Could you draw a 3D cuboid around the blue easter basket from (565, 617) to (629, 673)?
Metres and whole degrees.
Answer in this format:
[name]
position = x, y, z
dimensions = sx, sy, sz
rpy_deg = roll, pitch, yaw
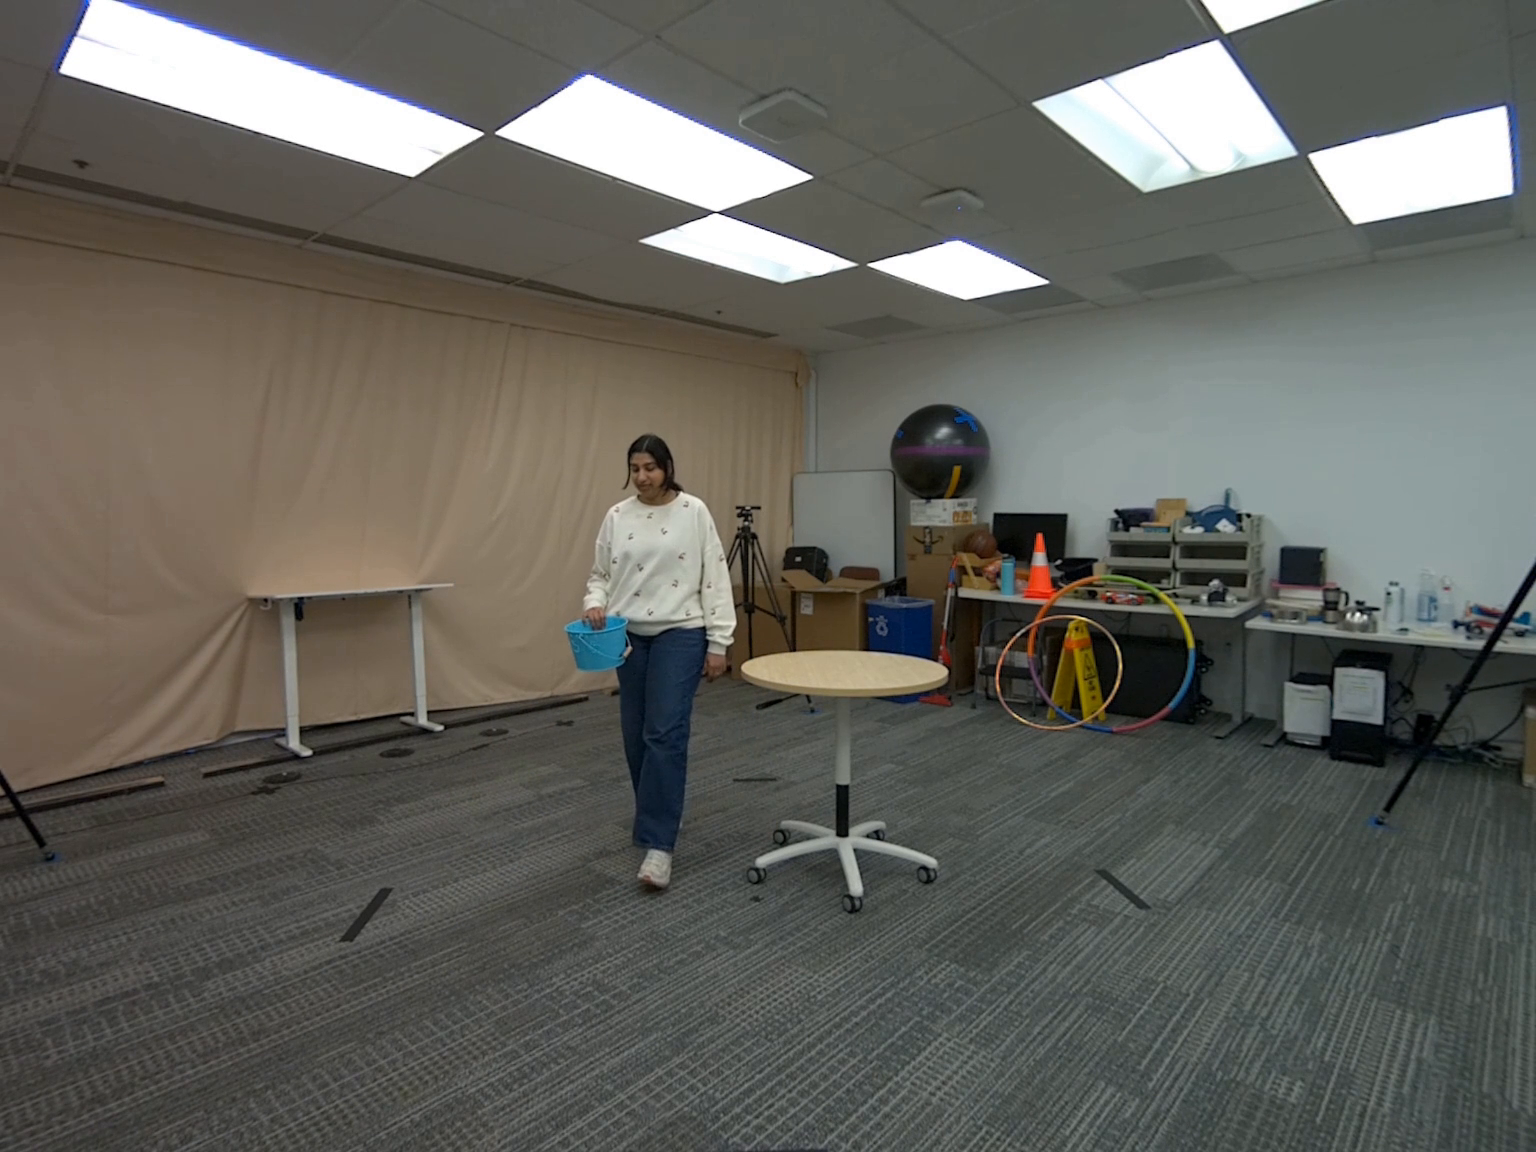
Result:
[blue easter basket]
position = -0.634, 0.252, 3.124
dimensions = 0.243, 0.155, 0.245
rpy_deg = -6, 9, -1
